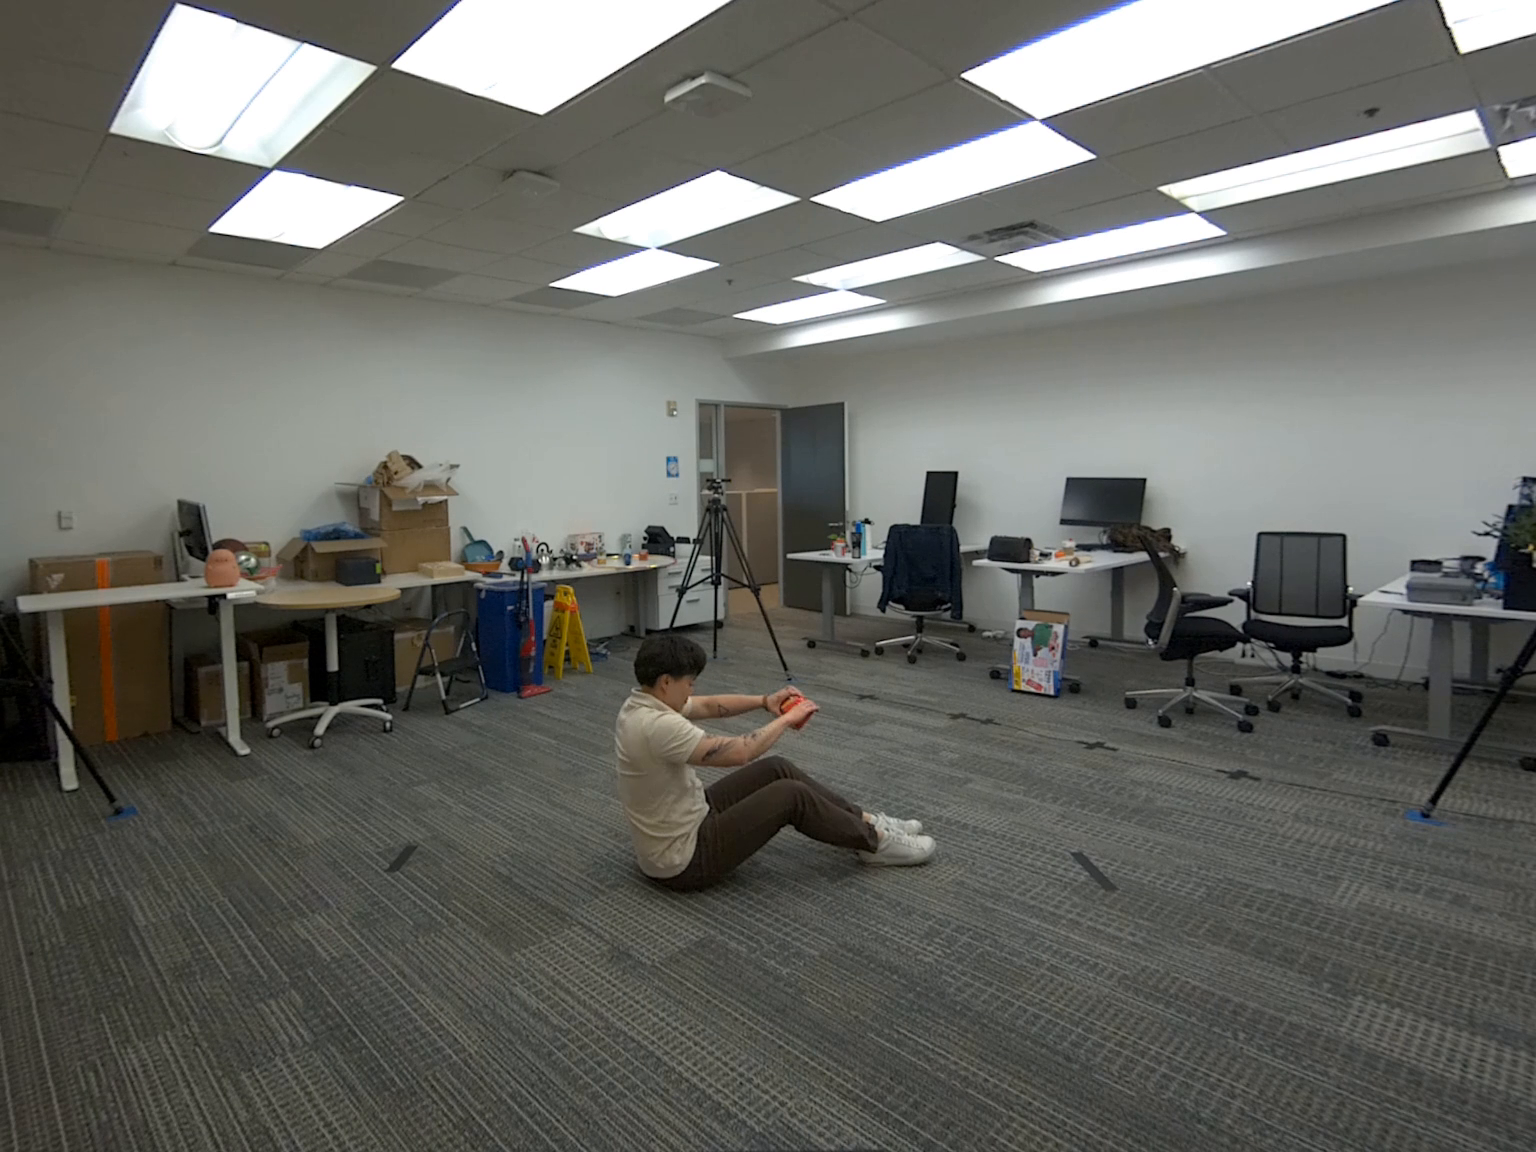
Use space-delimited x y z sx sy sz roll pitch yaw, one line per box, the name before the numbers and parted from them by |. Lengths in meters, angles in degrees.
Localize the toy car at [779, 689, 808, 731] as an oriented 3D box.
toy car | 0.094 0.502 3.172 0.082 0.130 0.257 39 -7 -11
